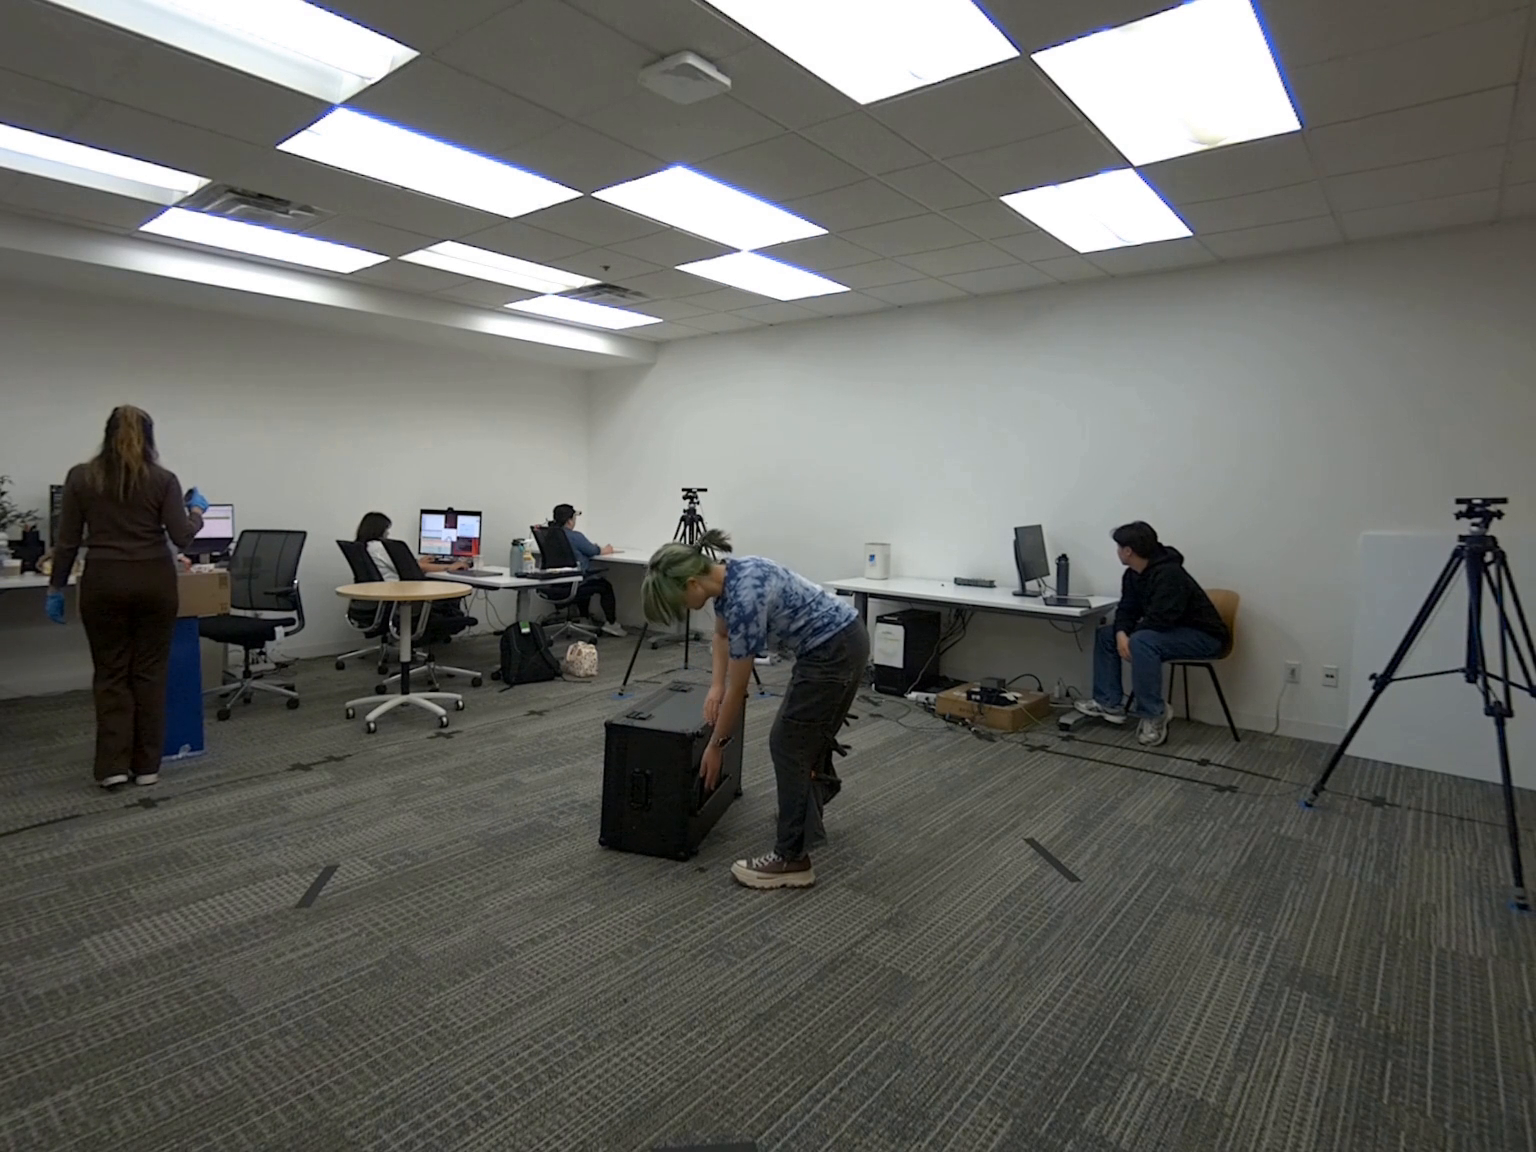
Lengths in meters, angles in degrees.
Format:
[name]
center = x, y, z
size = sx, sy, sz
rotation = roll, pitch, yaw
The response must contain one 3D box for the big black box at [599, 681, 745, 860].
[big black box]
center = -0.360, 0.764, 3.593
size = 0.403, 0.519, 0.851
rotation = 4, 6, 14
